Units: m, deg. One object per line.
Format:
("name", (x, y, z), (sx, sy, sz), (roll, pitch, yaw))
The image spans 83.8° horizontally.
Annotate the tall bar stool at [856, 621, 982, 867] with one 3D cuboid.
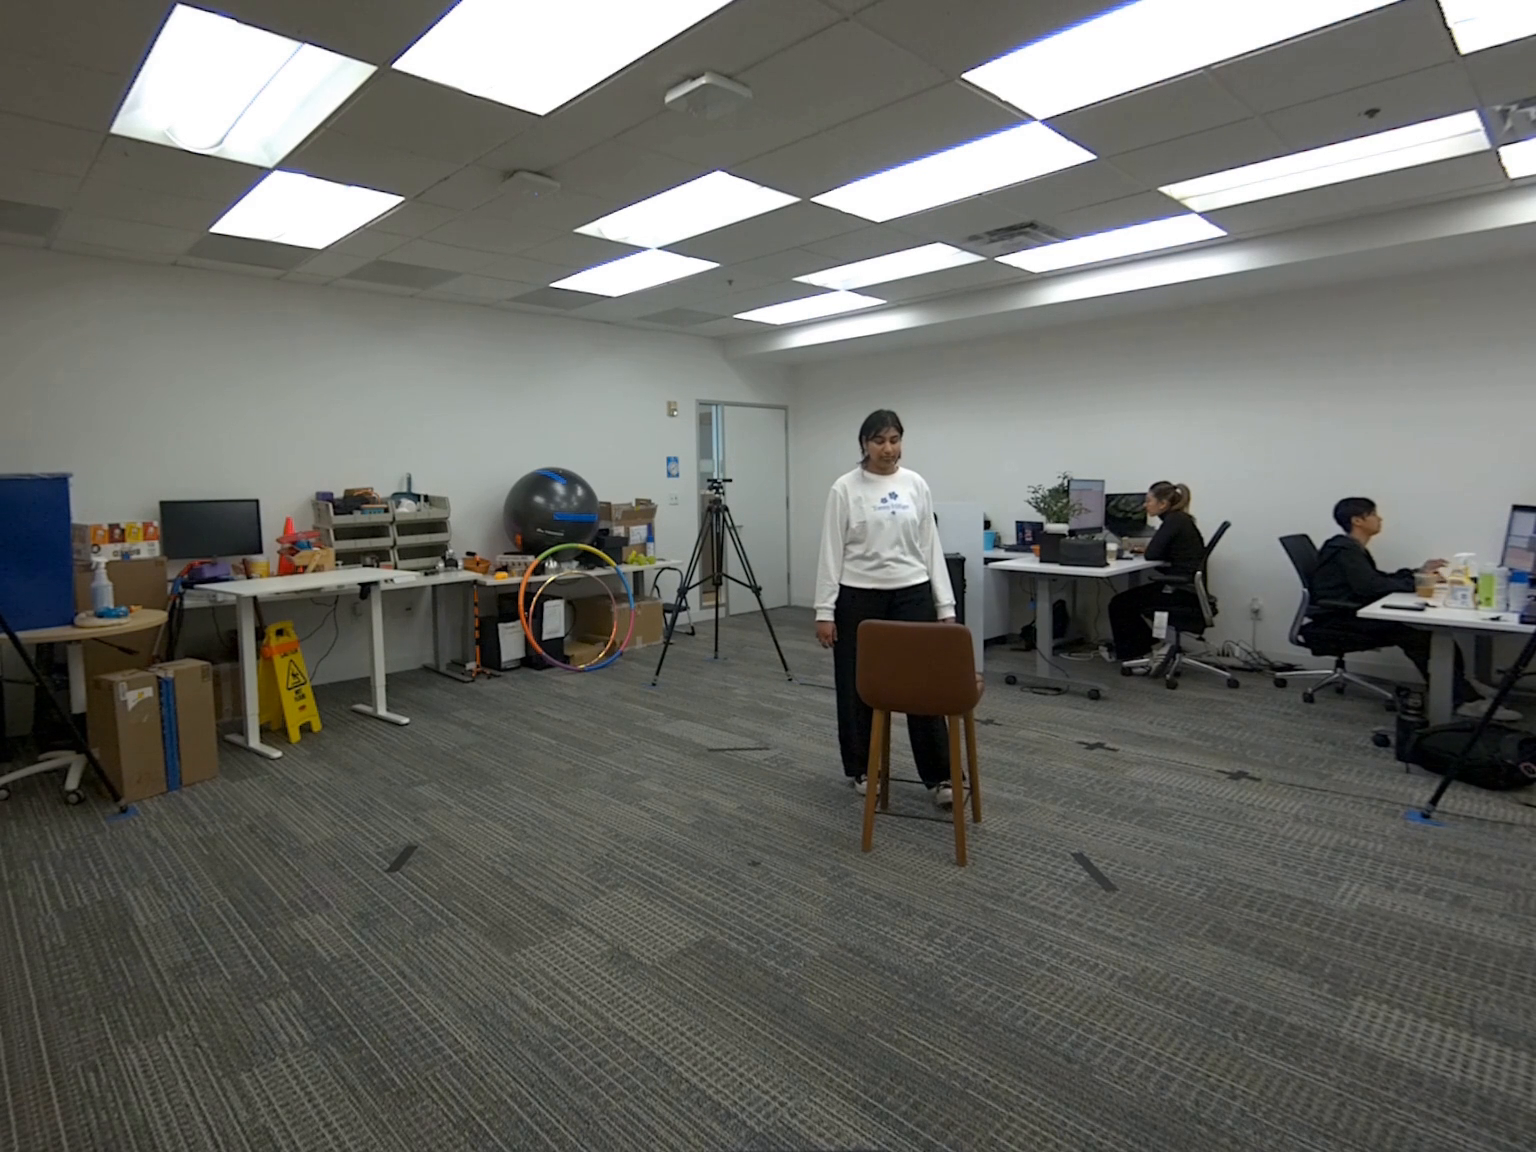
("tall bar stool", (0.591, 0.579, 3.303), (0.466, 0.885, 0.460), (1, 6, 22))
